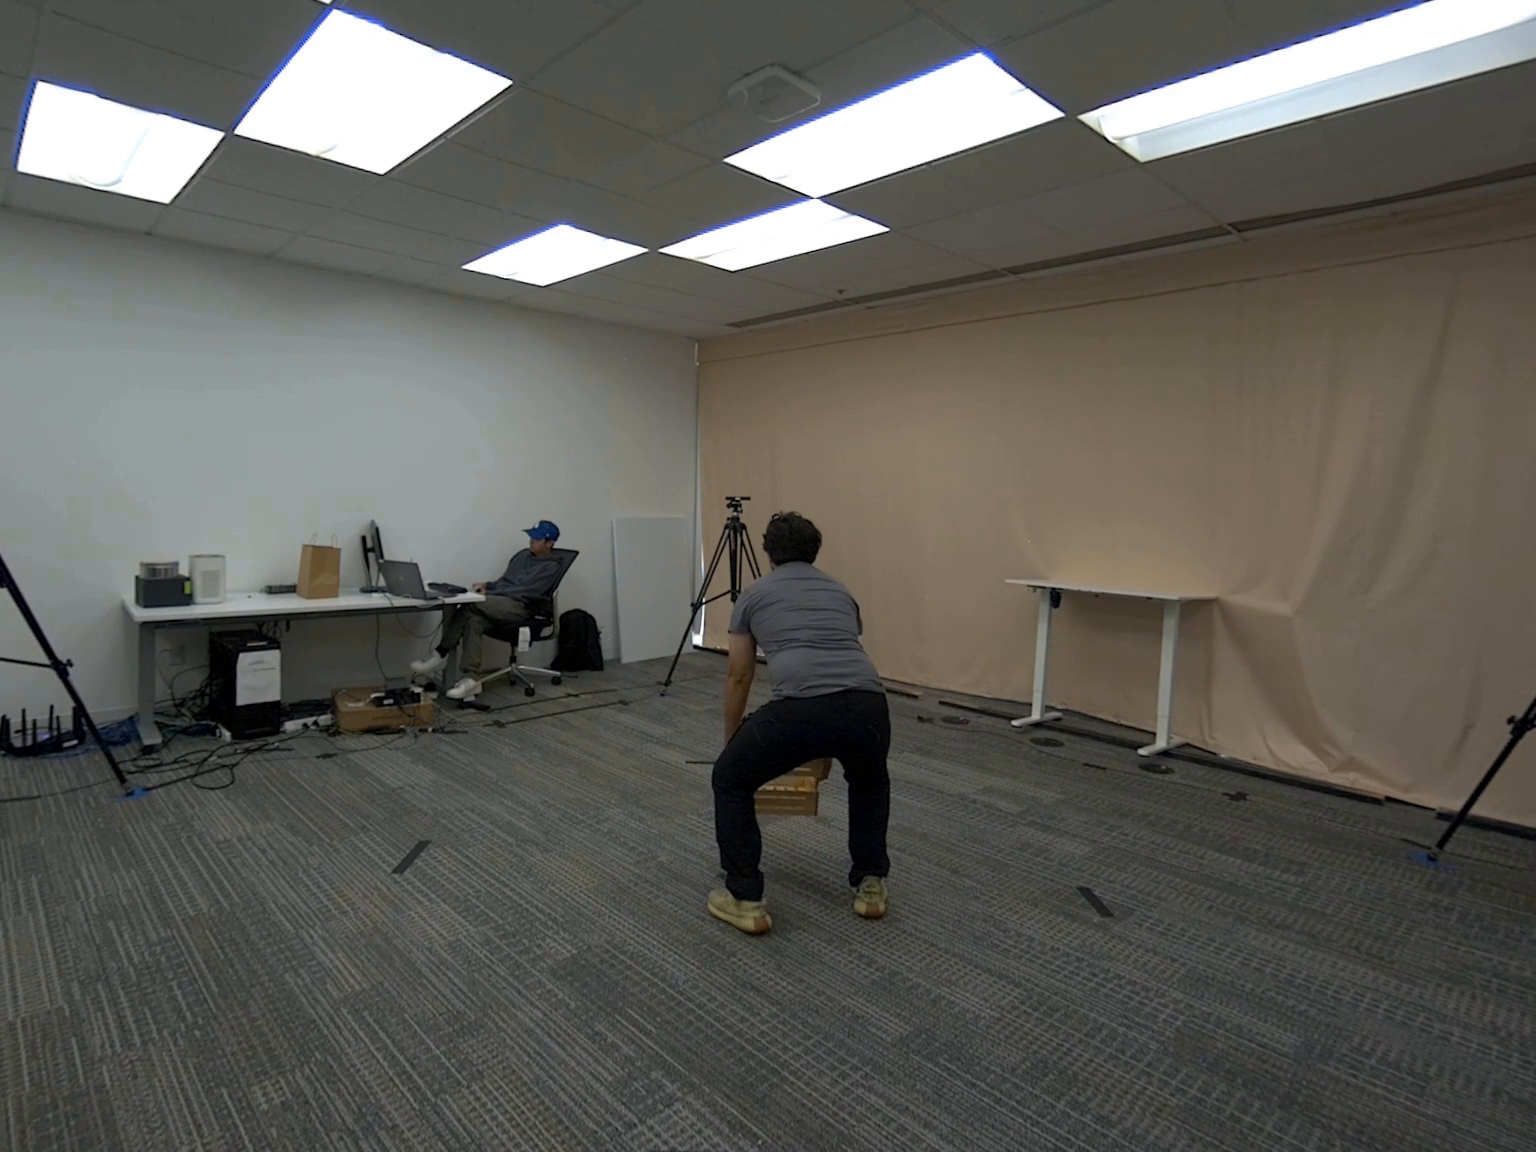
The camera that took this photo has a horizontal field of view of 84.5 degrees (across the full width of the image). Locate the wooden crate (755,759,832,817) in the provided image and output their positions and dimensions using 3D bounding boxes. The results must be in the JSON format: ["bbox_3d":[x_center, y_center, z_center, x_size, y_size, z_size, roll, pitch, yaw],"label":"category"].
[{"bbox_3d":[0.031,0.731,3.153,0.323,0.272,0.304,4,5,-6],"label":"wooden crate"}]
